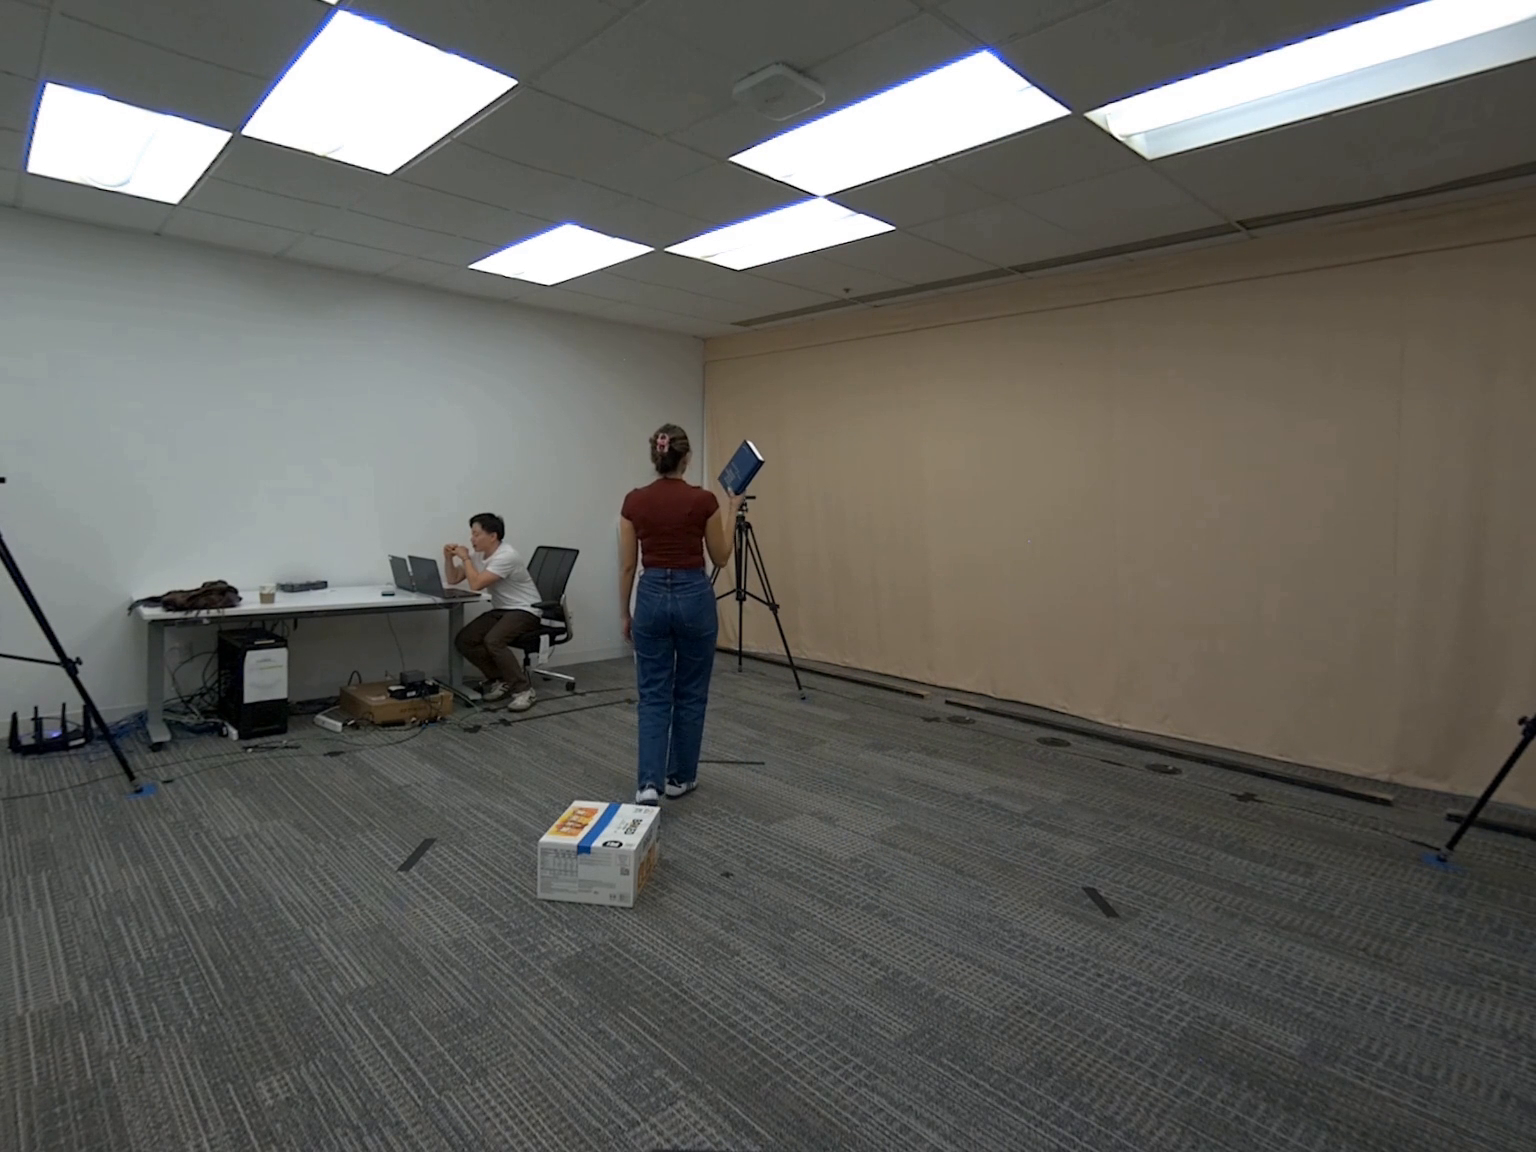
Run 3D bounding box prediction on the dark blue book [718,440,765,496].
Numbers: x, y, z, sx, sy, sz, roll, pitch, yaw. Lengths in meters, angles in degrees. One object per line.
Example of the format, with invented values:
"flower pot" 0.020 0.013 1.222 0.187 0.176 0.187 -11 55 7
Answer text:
"dark blue book" -0.137 -0.497 3.946 0.044 0.244 0.168 15 34 -41
